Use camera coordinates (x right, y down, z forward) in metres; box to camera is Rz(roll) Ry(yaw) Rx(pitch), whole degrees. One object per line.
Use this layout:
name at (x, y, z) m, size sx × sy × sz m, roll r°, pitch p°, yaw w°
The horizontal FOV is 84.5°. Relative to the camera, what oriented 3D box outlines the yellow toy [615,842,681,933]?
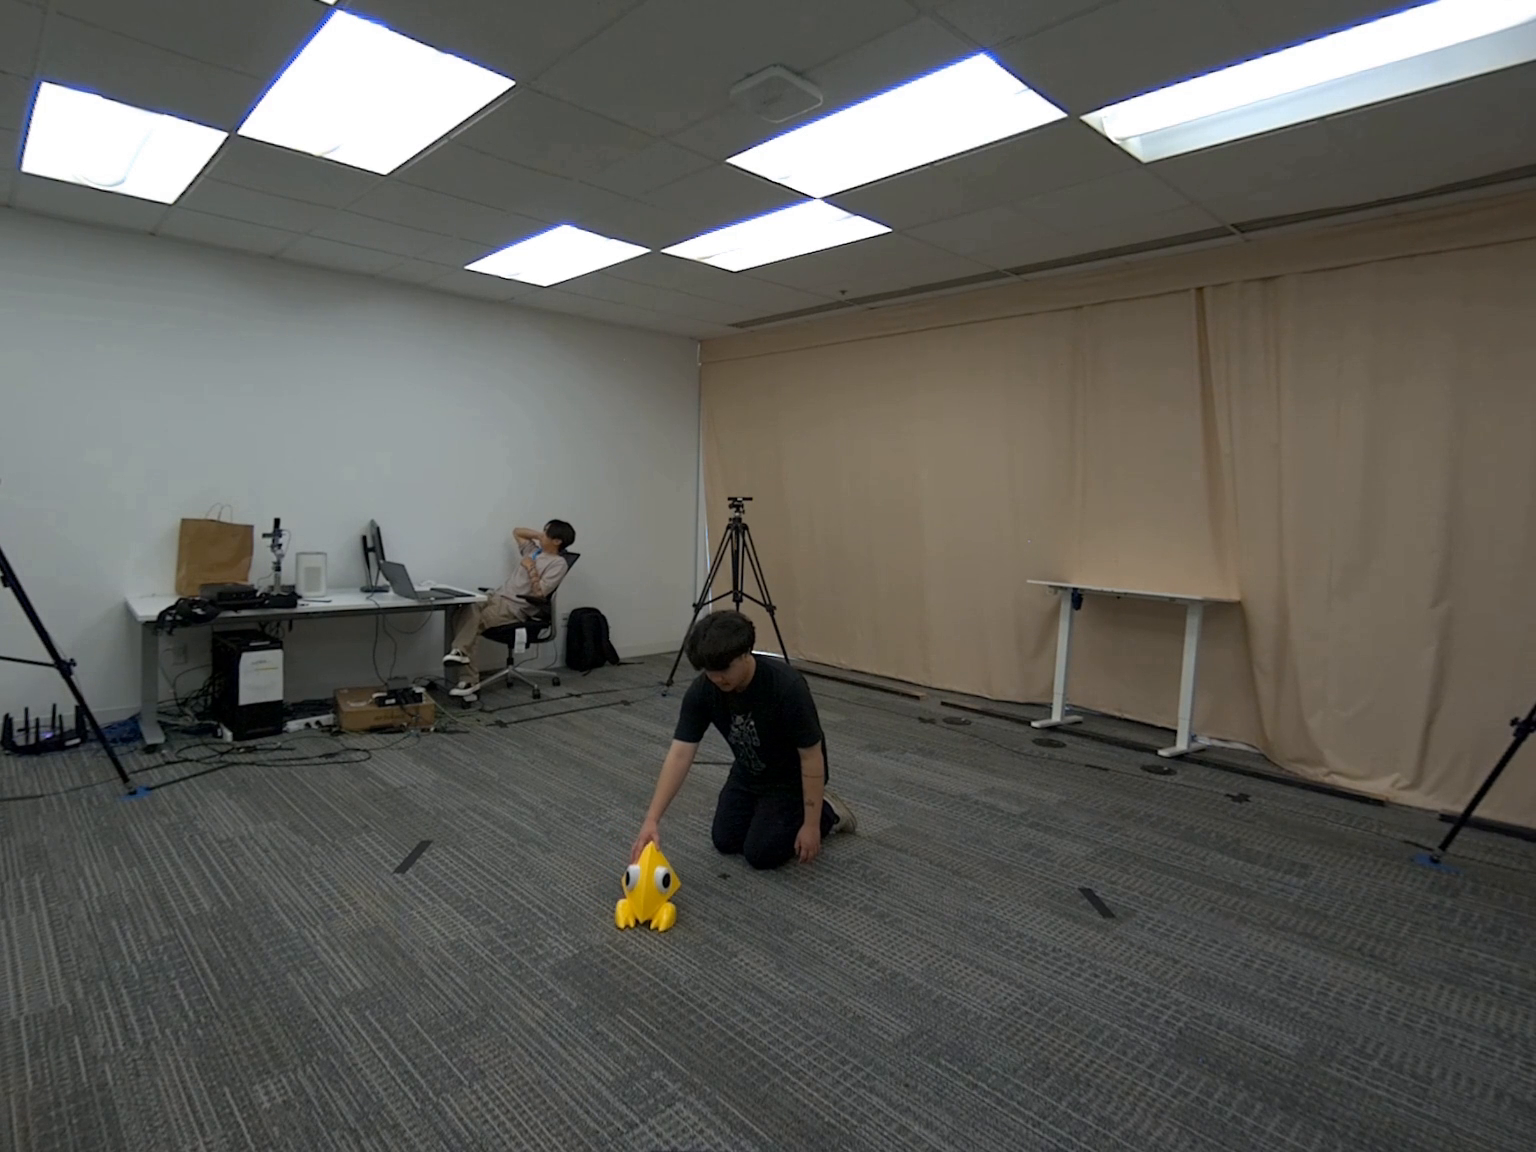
yellow toy at (-0.402, 1.014, 2.779) m, size 0.205 × 0.231 × 0.192 m, roll 3°, pitch -1°, yaw 2°
